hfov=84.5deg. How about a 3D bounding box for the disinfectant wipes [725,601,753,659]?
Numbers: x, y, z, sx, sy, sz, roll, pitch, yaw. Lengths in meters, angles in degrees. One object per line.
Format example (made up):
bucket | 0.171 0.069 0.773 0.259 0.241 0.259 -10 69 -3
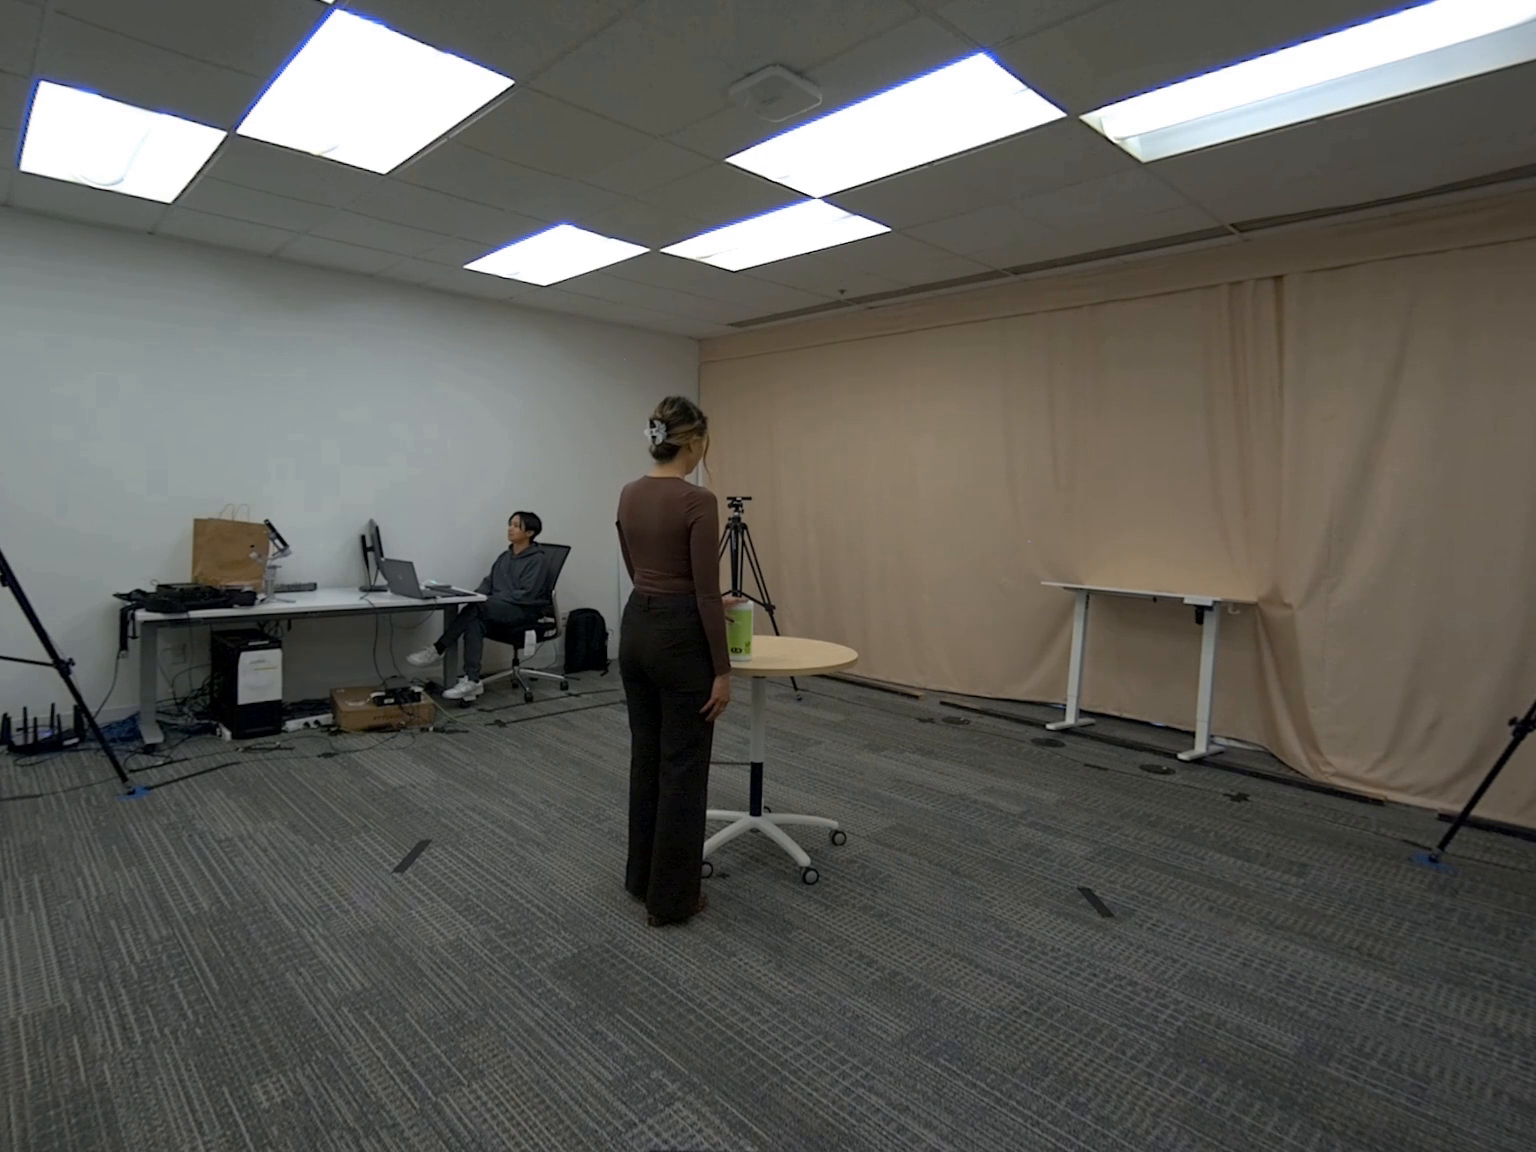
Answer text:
disinfectant wipes | -0.111 0.202 3.101 0.118 0.216 0.118 0 5 -1
